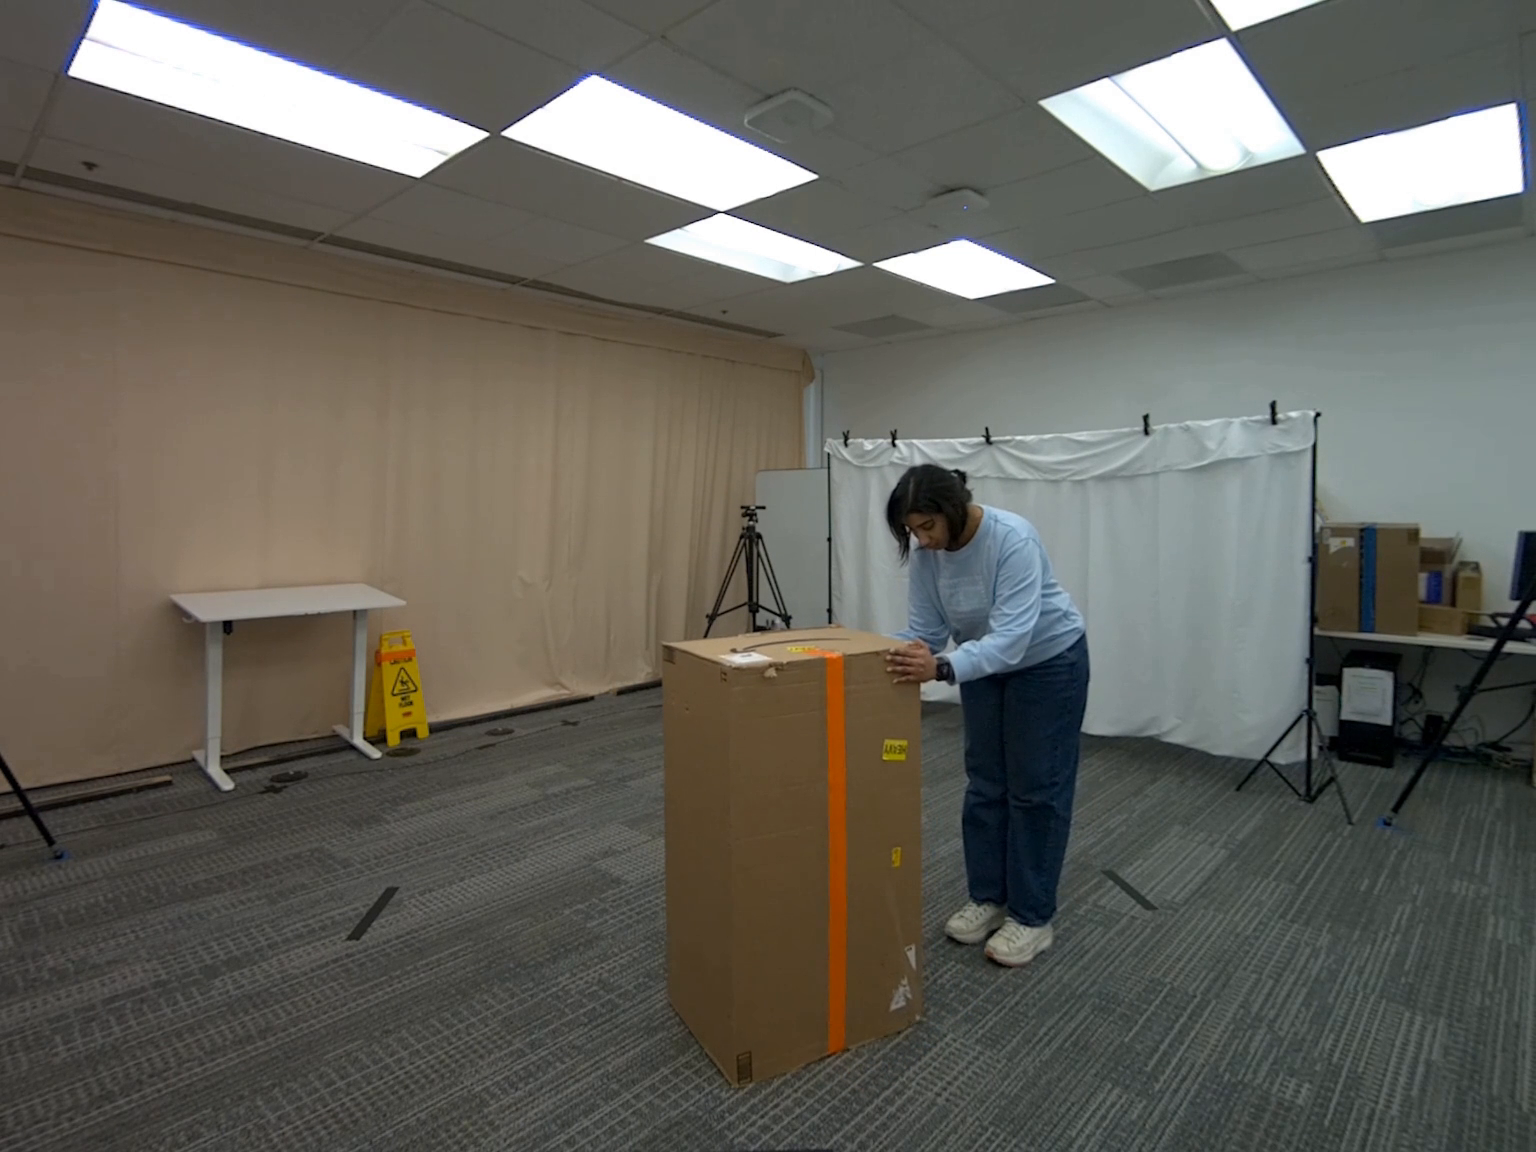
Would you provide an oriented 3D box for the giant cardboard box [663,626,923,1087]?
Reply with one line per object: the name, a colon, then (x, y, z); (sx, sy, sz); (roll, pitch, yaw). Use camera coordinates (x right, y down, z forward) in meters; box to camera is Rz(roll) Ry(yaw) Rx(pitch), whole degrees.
giant cardboard box: (0.063, 0.697, 2.296); (0.562, 1.024, 0.438); (-2, 3, -29)
